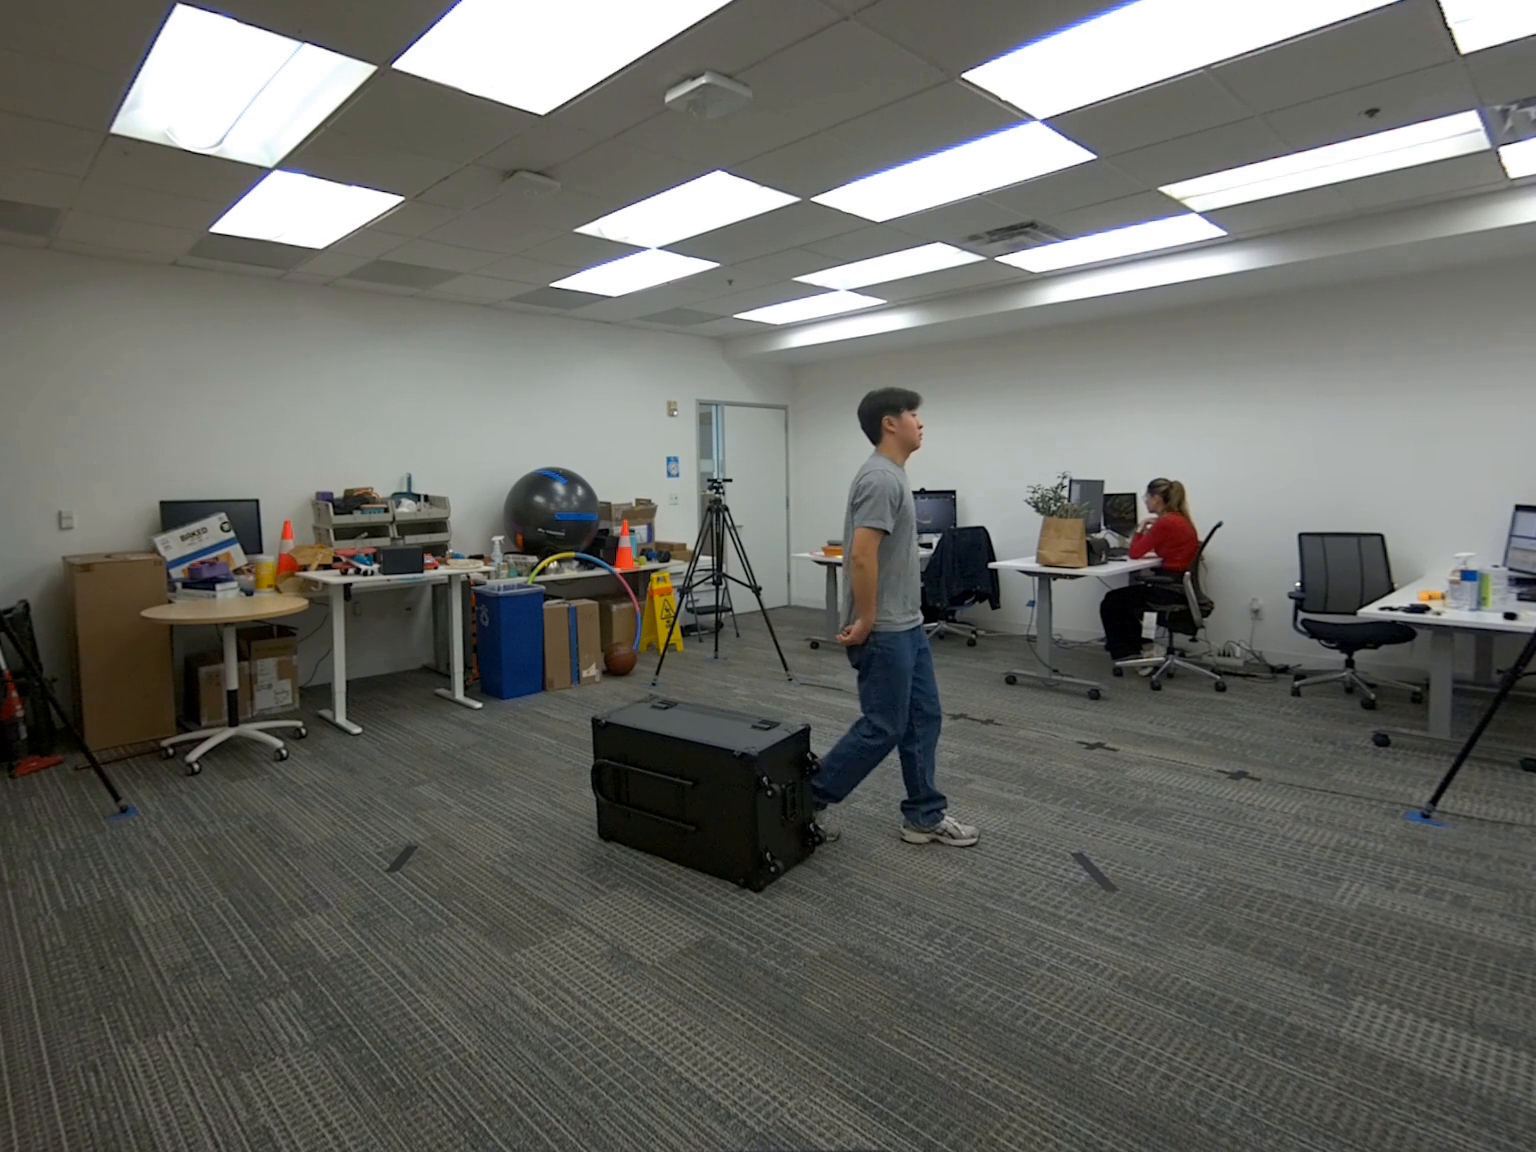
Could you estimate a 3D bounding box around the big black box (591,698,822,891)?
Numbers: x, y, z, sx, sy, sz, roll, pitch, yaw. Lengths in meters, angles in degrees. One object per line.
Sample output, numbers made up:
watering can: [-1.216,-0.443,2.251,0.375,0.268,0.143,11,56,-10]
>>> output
big black box: [-0.238,0.780,3.204,0.887,0.518,0.387,4,8,36]
